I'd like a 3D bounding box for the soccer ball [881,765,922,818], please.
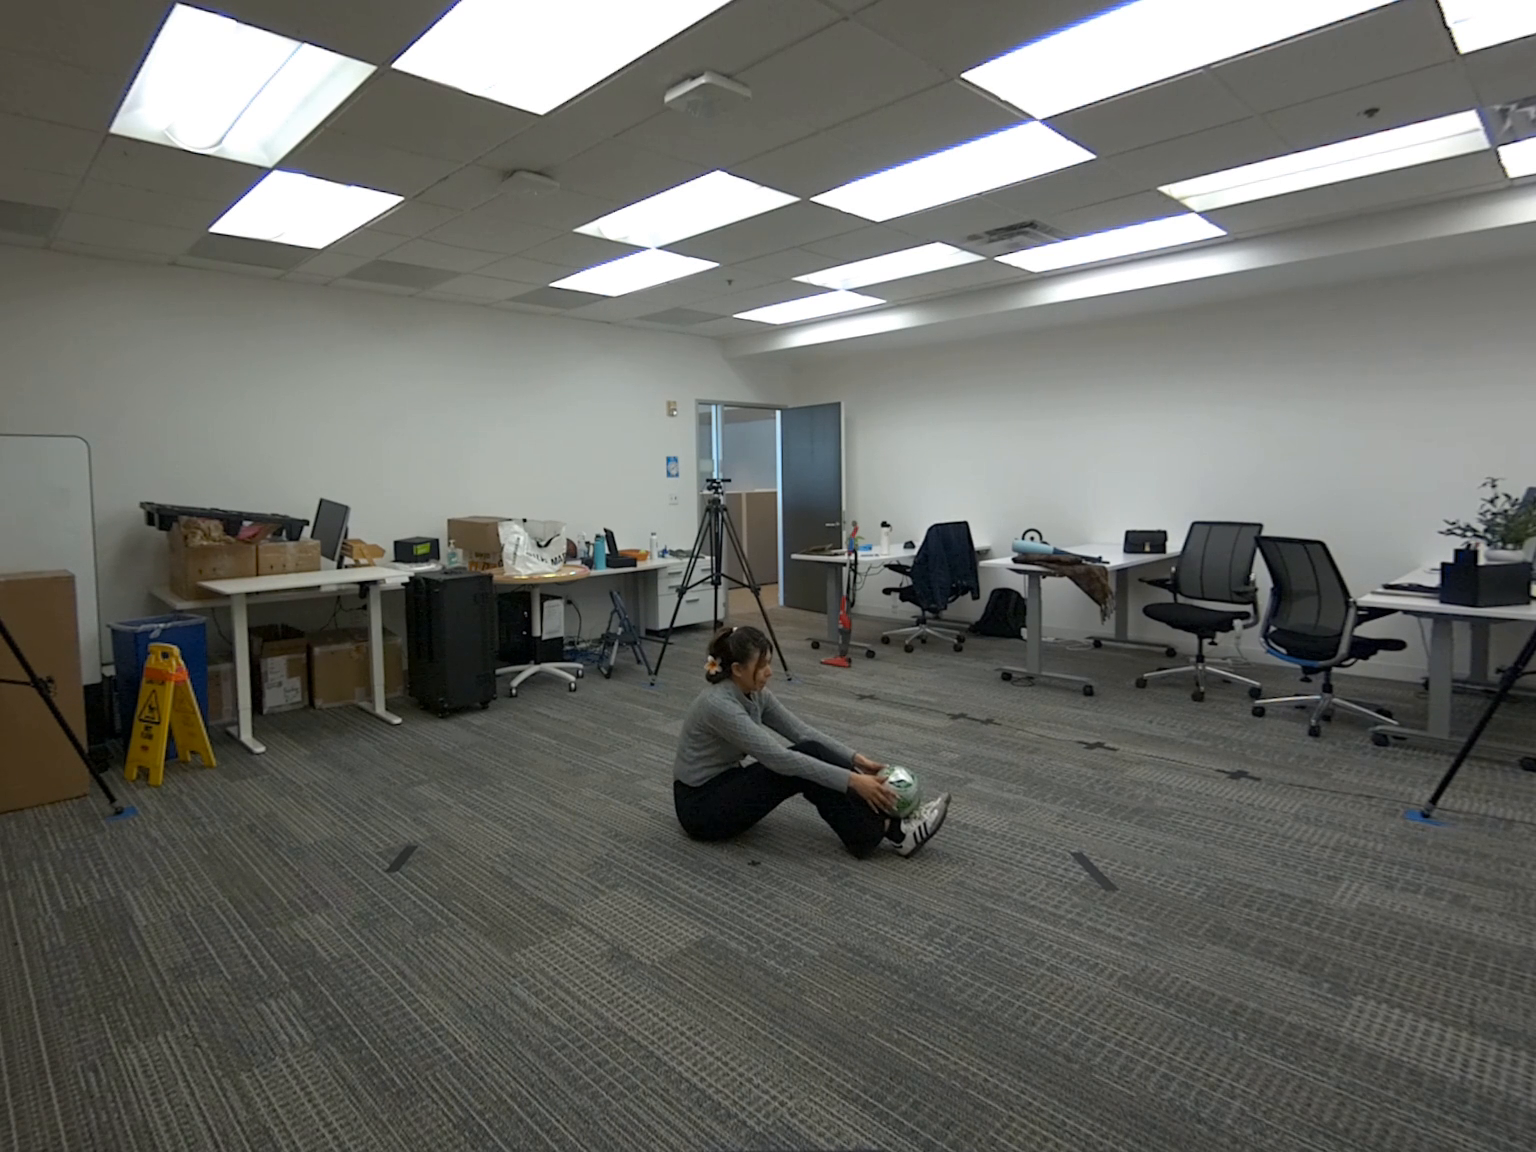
[{"bbox_3d":[0.471,0.796,3.170,0.187,0.187,0.188,-1,5,-2],"label":"soccer ball"}]
